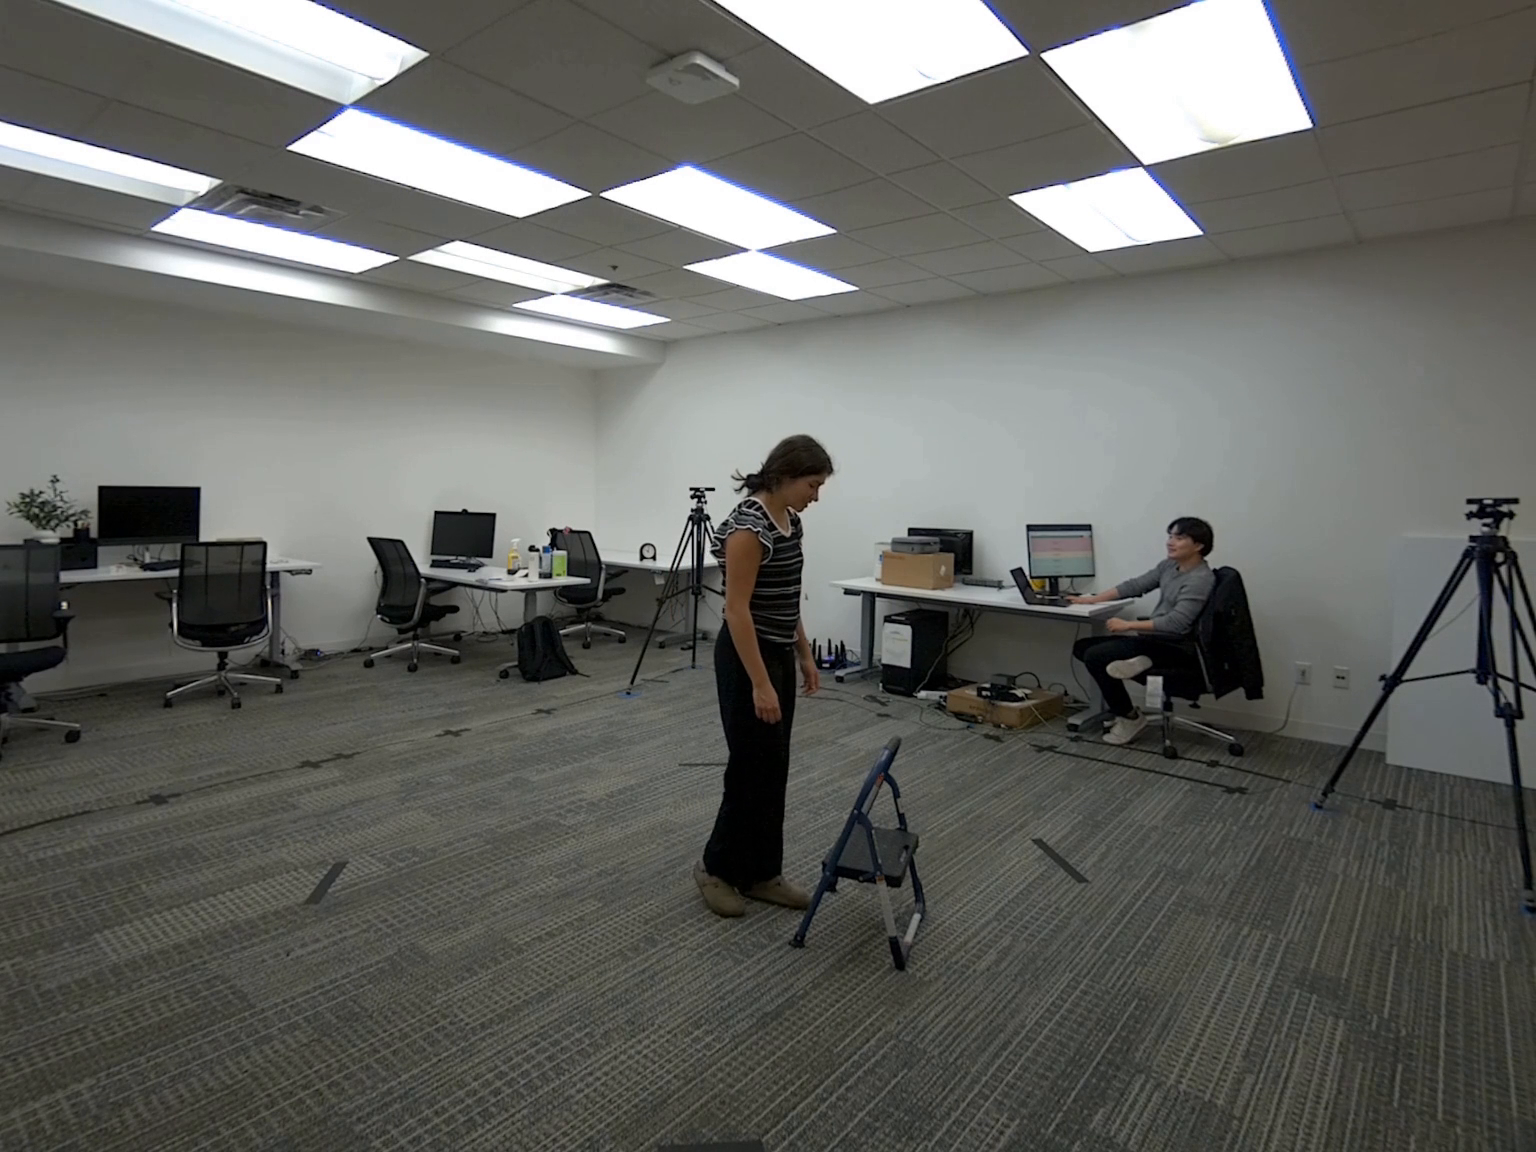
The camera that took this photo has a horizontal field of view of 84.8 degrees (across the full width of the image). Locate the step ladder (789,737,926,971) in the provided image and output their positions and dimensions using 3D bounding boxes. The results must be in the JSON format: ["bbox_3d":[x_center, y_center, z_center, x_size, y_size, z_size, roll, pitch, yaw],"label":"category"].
[{"bbox_3d":[0.304,0.817,2.702,0.357,0.604,0.422,3,4,20],"label":"step ladder"}]
